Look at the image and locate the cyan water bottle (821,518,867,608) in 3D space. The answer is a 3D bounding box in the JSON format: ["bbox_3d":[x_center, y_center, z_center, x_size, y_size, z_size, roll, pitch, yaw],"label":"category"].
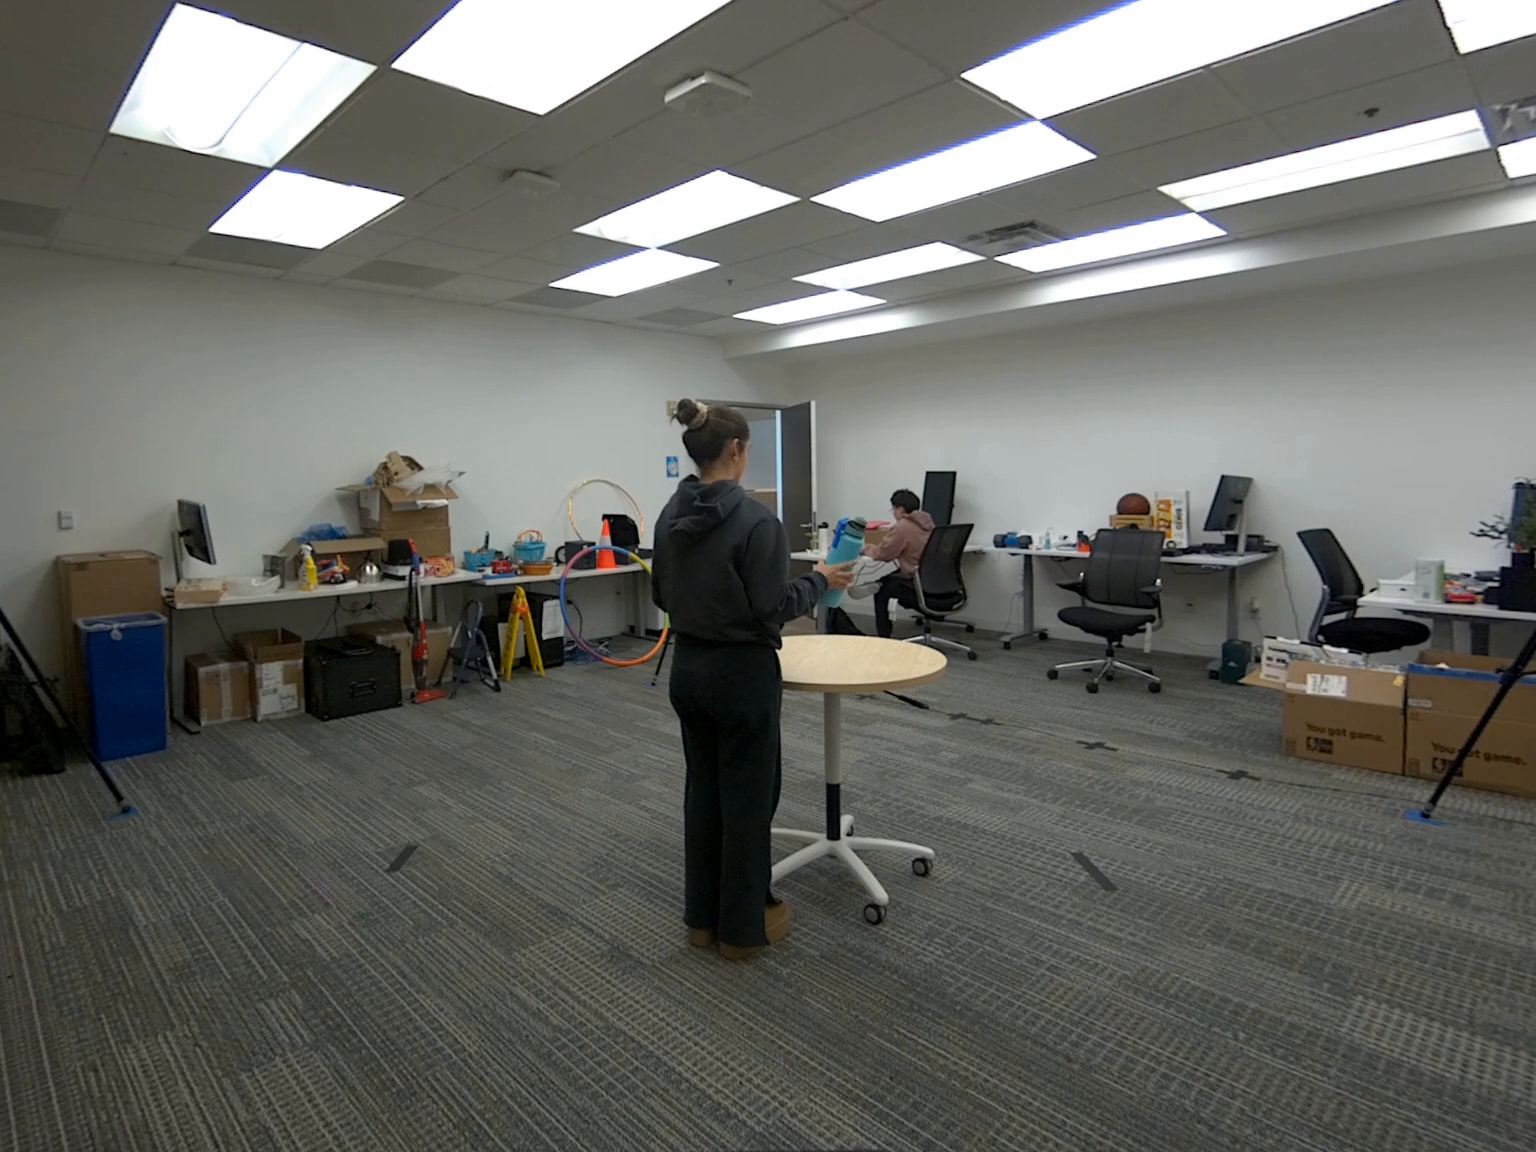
[{"bbox_3d":[0.218,-0.048,2.602,0.092,0.281,0.093,18,12,-6],"label":"cyan water bottle"}]
